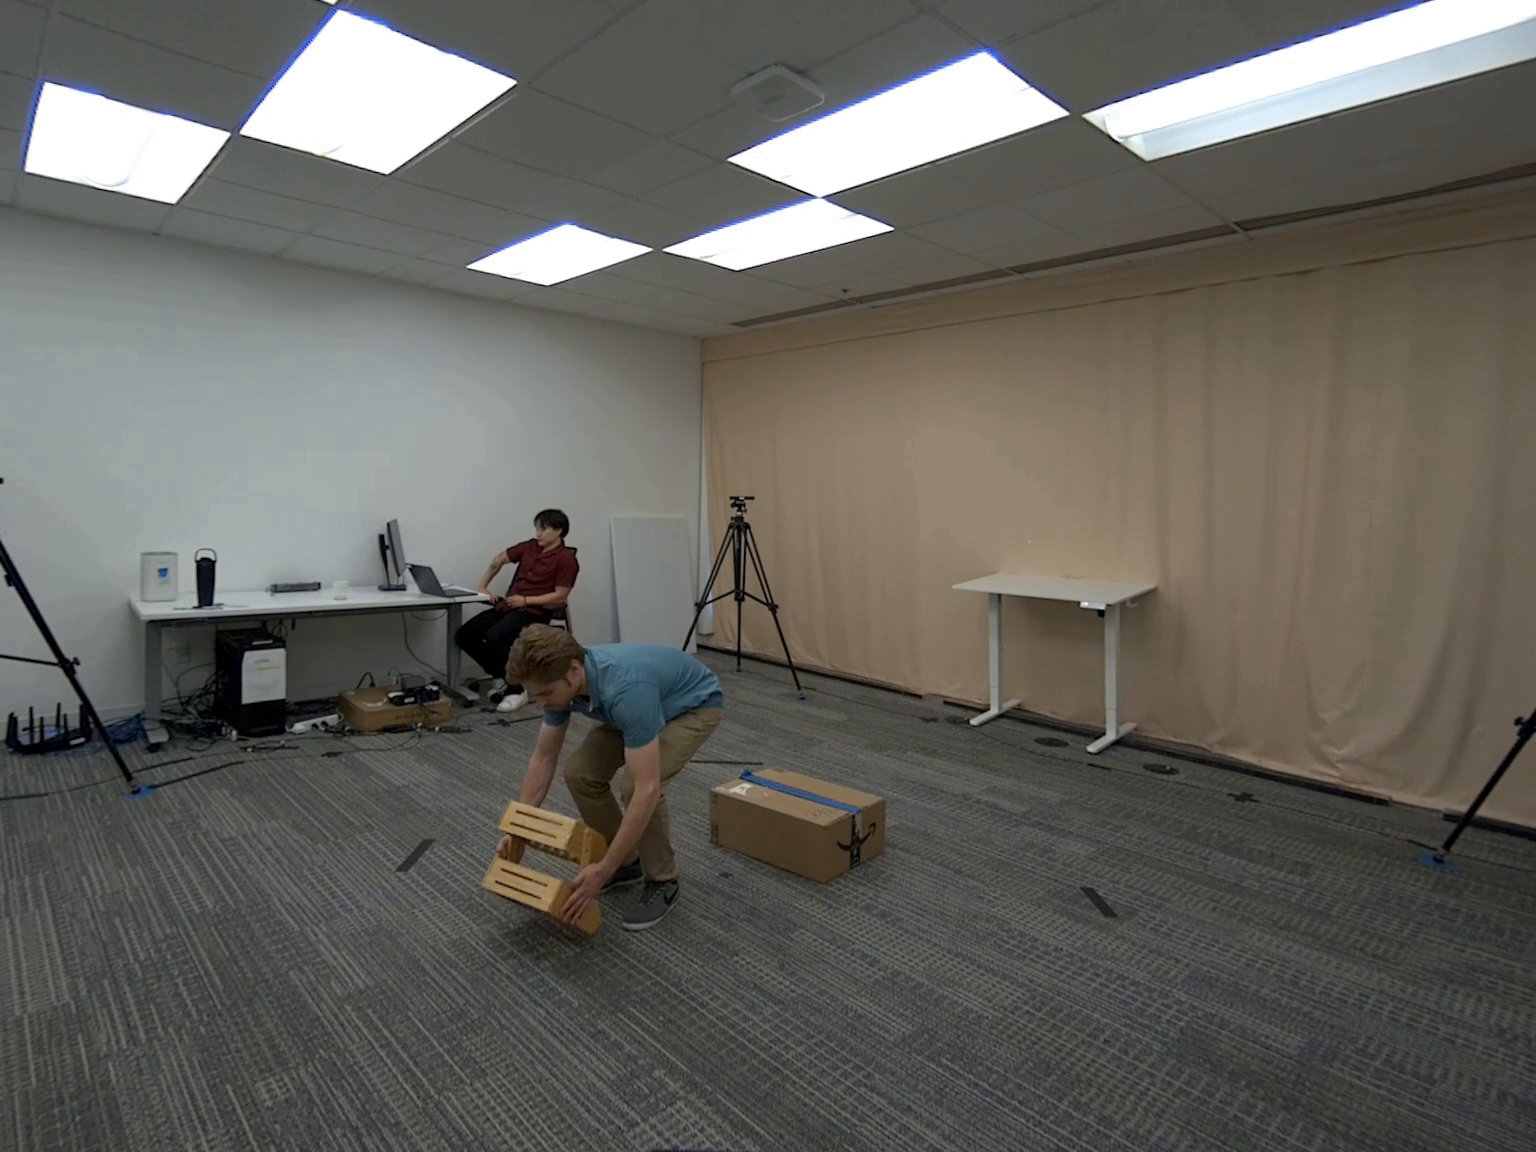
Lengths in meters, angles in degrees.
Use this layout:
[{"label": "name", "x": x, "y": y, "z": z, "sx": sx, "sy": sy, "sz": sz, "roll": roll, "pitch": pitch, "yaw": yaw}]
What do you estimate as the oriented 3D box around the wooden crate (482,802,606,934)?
[{"label": "wooden crate", "x": -0.691, "y": 0.917, "z": 2.641, "sx": 0.331, "sy": 0.276, "sz": 0.292, "roll": 2, "pitch": -33, "yaw": 30}]
